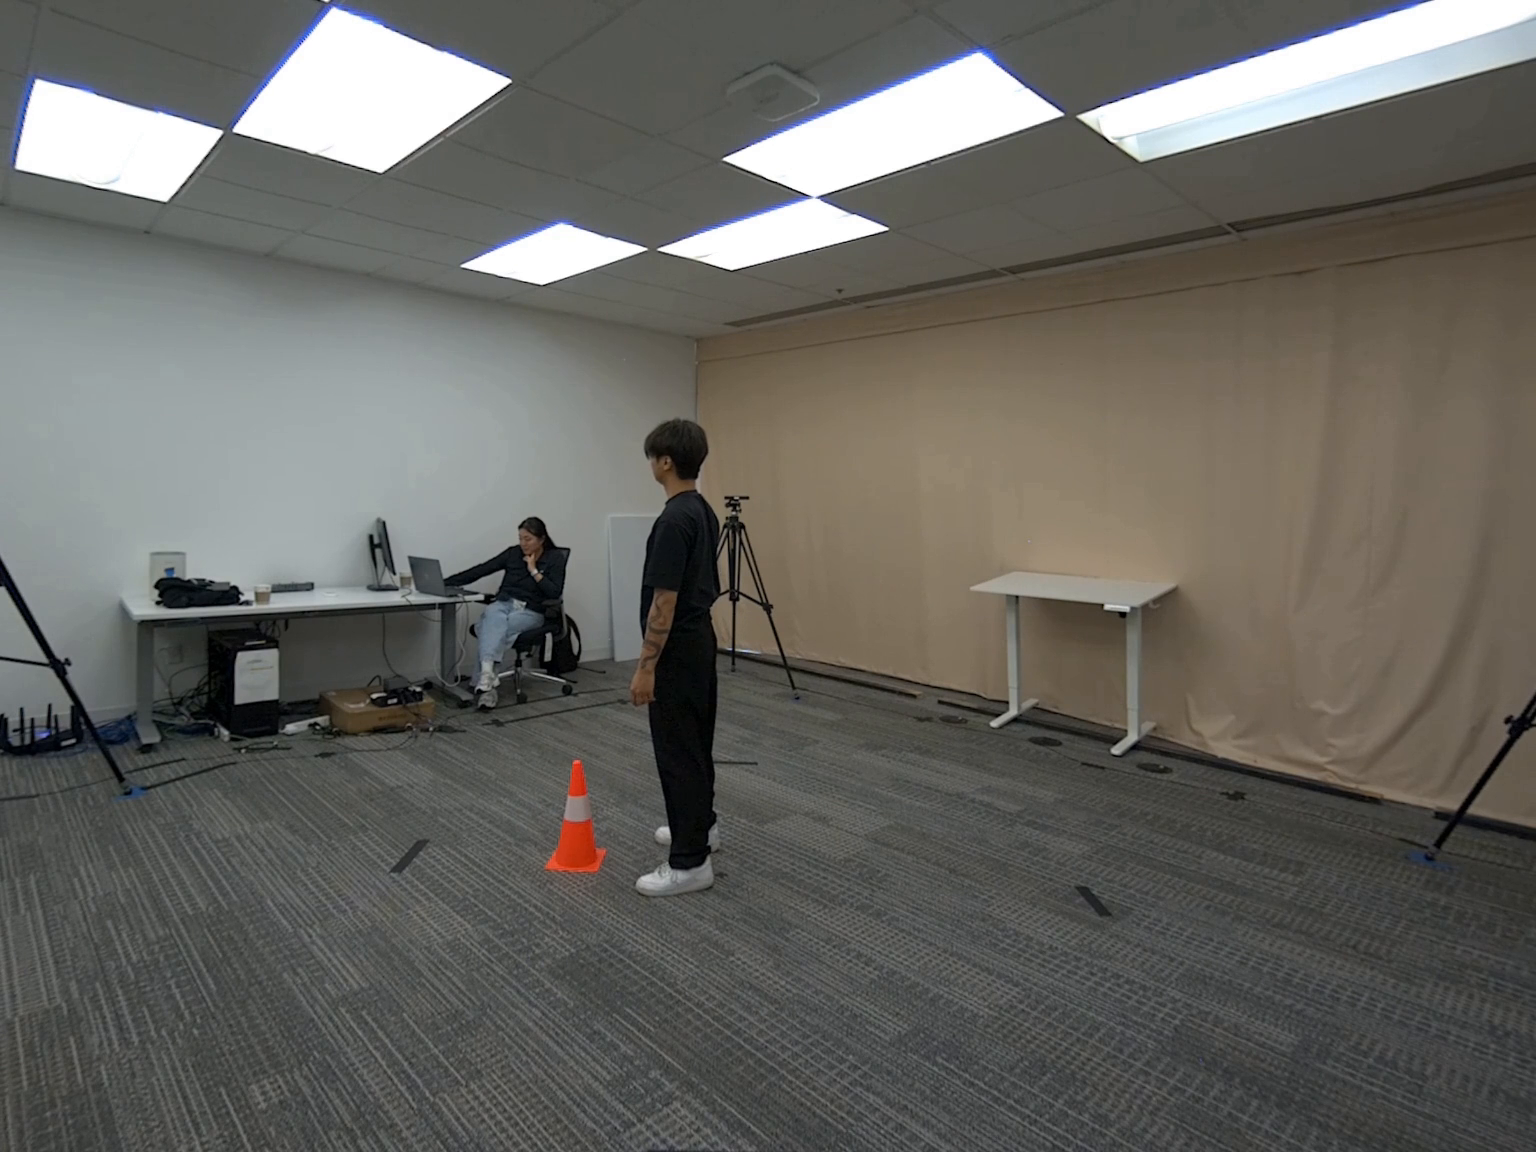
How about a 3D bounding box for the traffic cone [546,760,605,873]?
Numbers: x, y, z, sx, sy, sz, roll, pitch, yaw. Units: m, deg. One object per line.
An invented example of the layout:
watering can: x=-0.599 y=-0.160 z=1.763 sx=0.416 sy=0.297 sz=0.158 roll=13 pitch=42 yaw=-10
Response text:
traffic cone: x=-0.734 y=0.896 z=3.202 sx=0.203 sy=0.383 sz=0.205 roll=3 pitch=2 yaw=0
